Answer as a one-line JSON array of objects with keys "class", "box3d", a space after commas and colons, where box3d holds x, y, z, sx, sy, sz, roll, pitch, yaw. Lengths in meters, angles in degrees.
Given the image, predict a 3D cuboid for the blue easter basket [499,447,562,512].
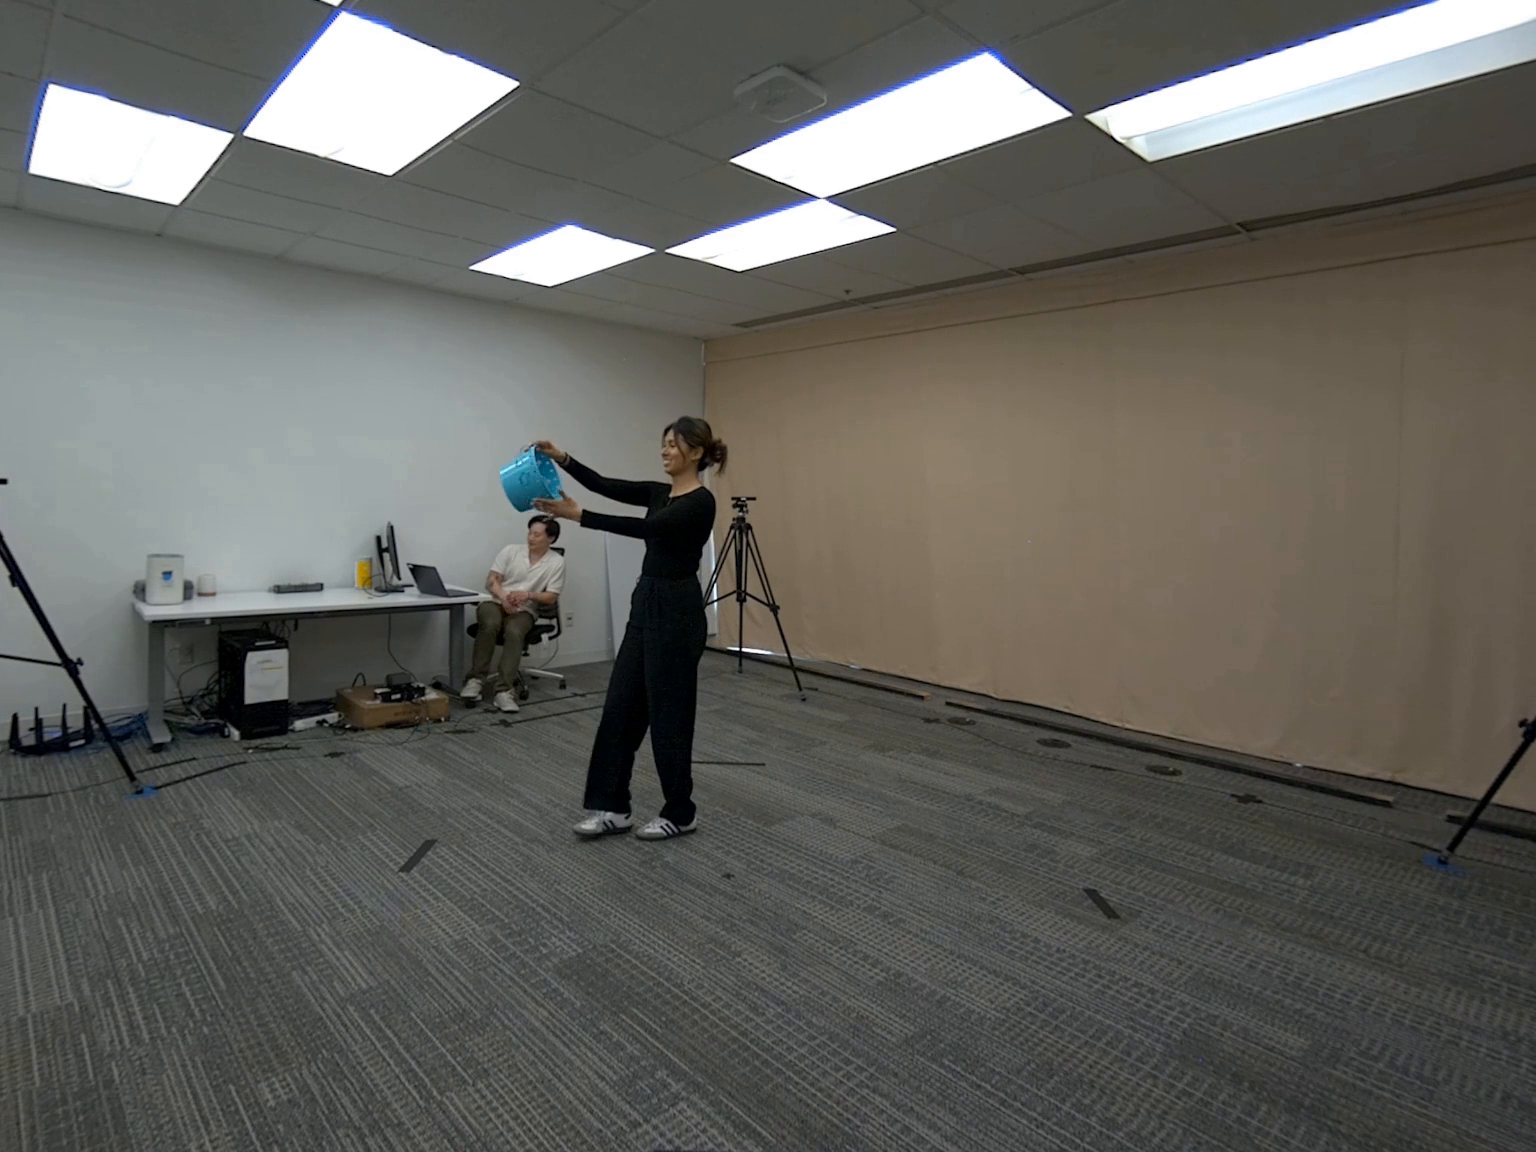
[{"class": "blue easter basket", "box3d": [-0.866, -0.346, 3.091, 0.156, 0.243, 0.243, -22, 2, 5]}]
